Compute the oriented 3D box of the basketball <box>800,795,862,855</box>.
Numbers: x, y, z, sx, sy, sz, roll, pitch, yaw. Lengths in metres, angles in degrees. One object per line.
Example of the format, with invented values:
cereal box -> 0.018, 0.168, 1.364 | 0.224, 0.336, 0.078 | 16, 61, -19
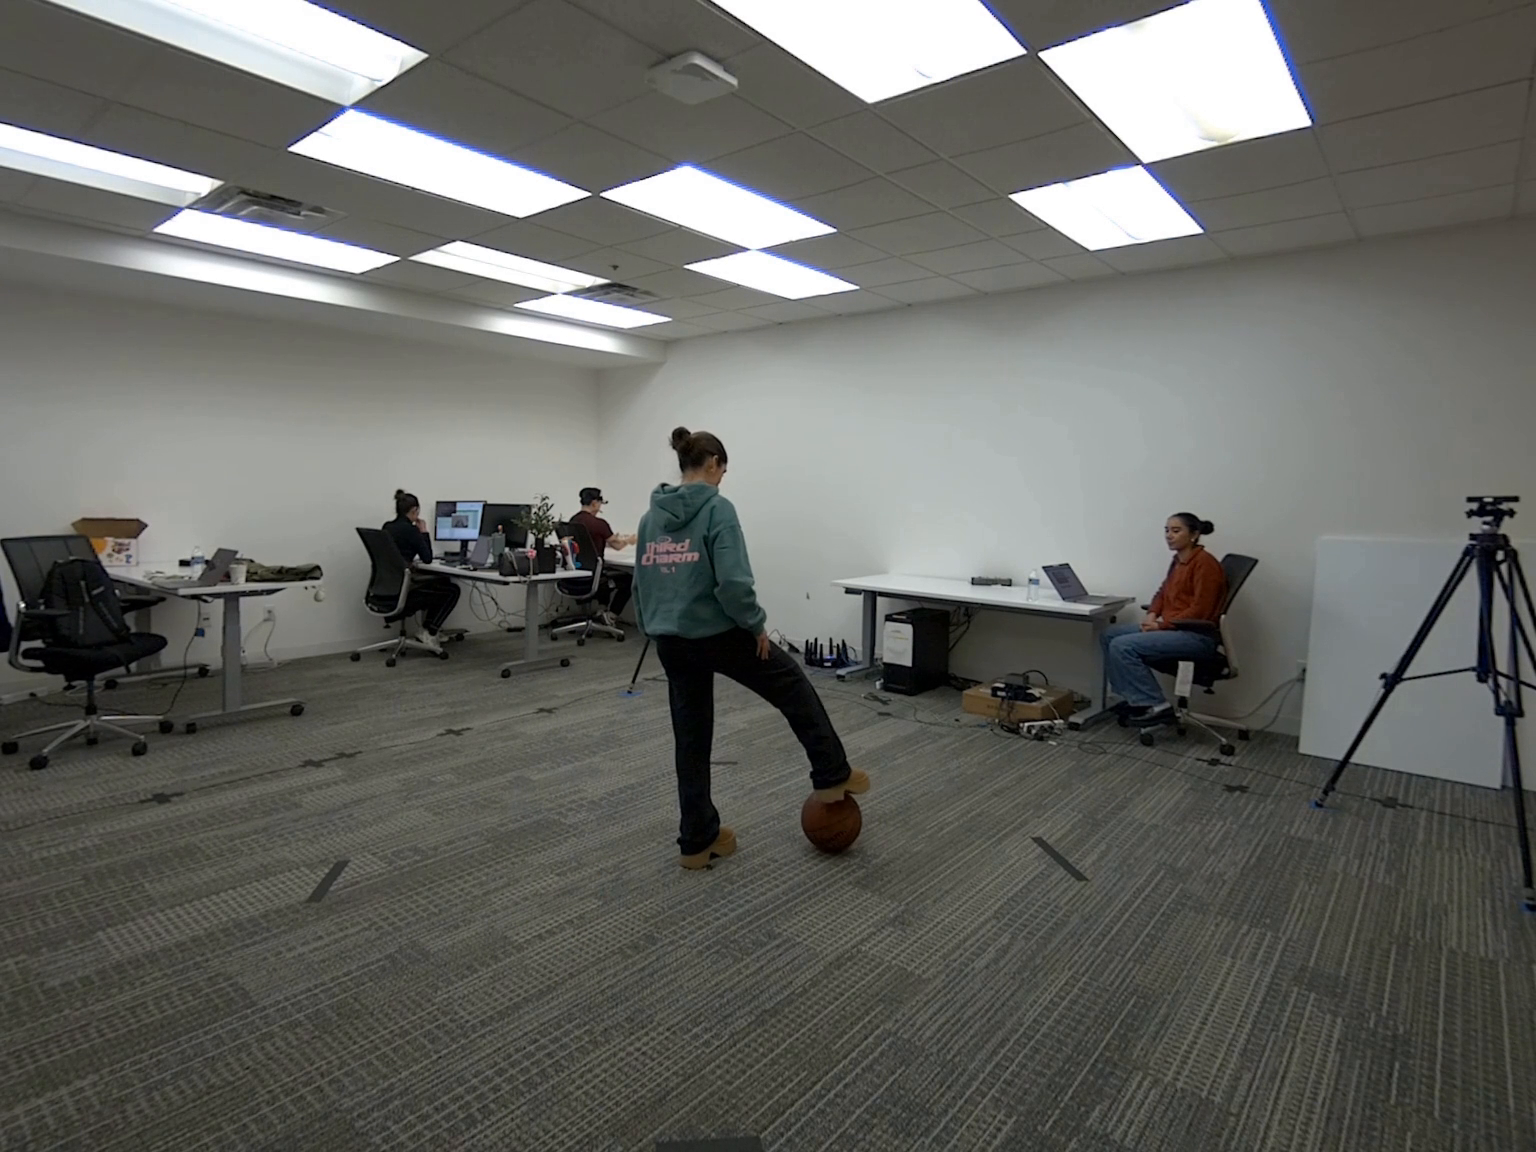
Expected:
basketball -> 0.229, 0.941, 3.293 | 0.236, 0.235, 0.237 | 1, 4, -2
